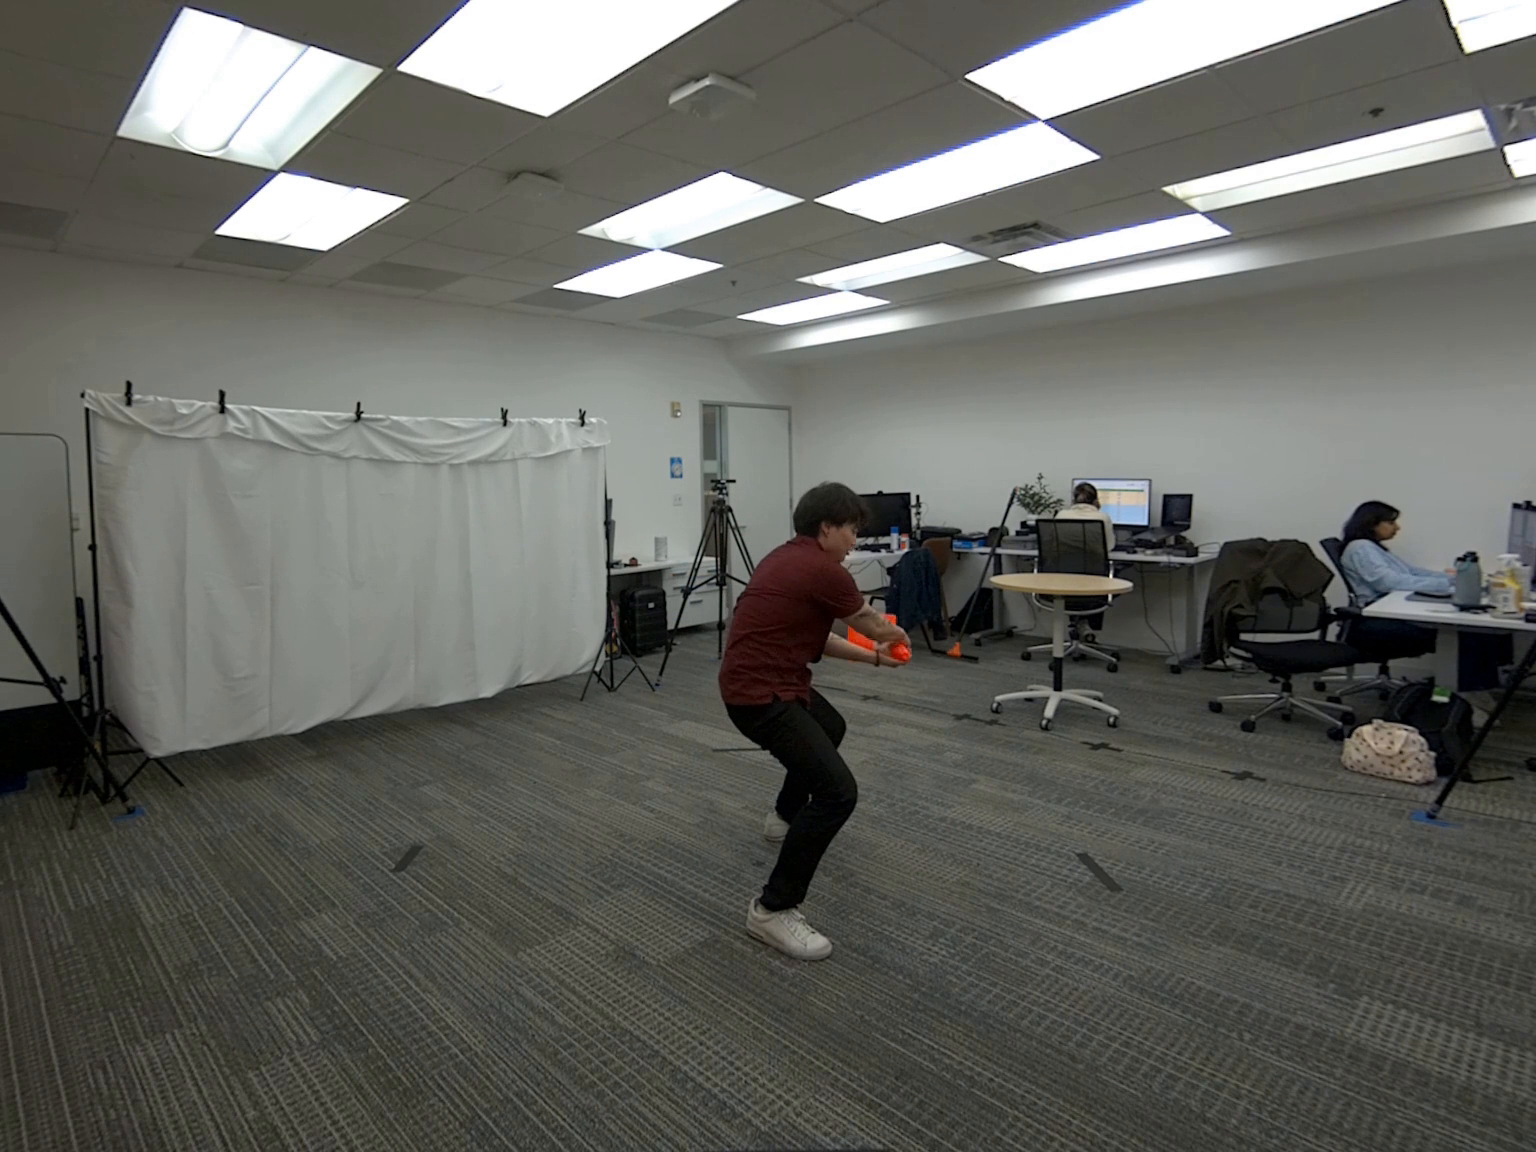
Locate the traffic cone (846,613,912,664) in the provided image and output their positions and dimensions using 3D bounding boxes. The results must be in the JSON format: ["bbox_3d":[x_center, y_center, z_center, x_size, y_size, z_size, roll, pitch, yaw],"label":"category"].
[{"bbox_3d":[0.448,0.285,3.253,0.204,0.202,0.388,6,9,-6],"label":"traffic cone"}]
